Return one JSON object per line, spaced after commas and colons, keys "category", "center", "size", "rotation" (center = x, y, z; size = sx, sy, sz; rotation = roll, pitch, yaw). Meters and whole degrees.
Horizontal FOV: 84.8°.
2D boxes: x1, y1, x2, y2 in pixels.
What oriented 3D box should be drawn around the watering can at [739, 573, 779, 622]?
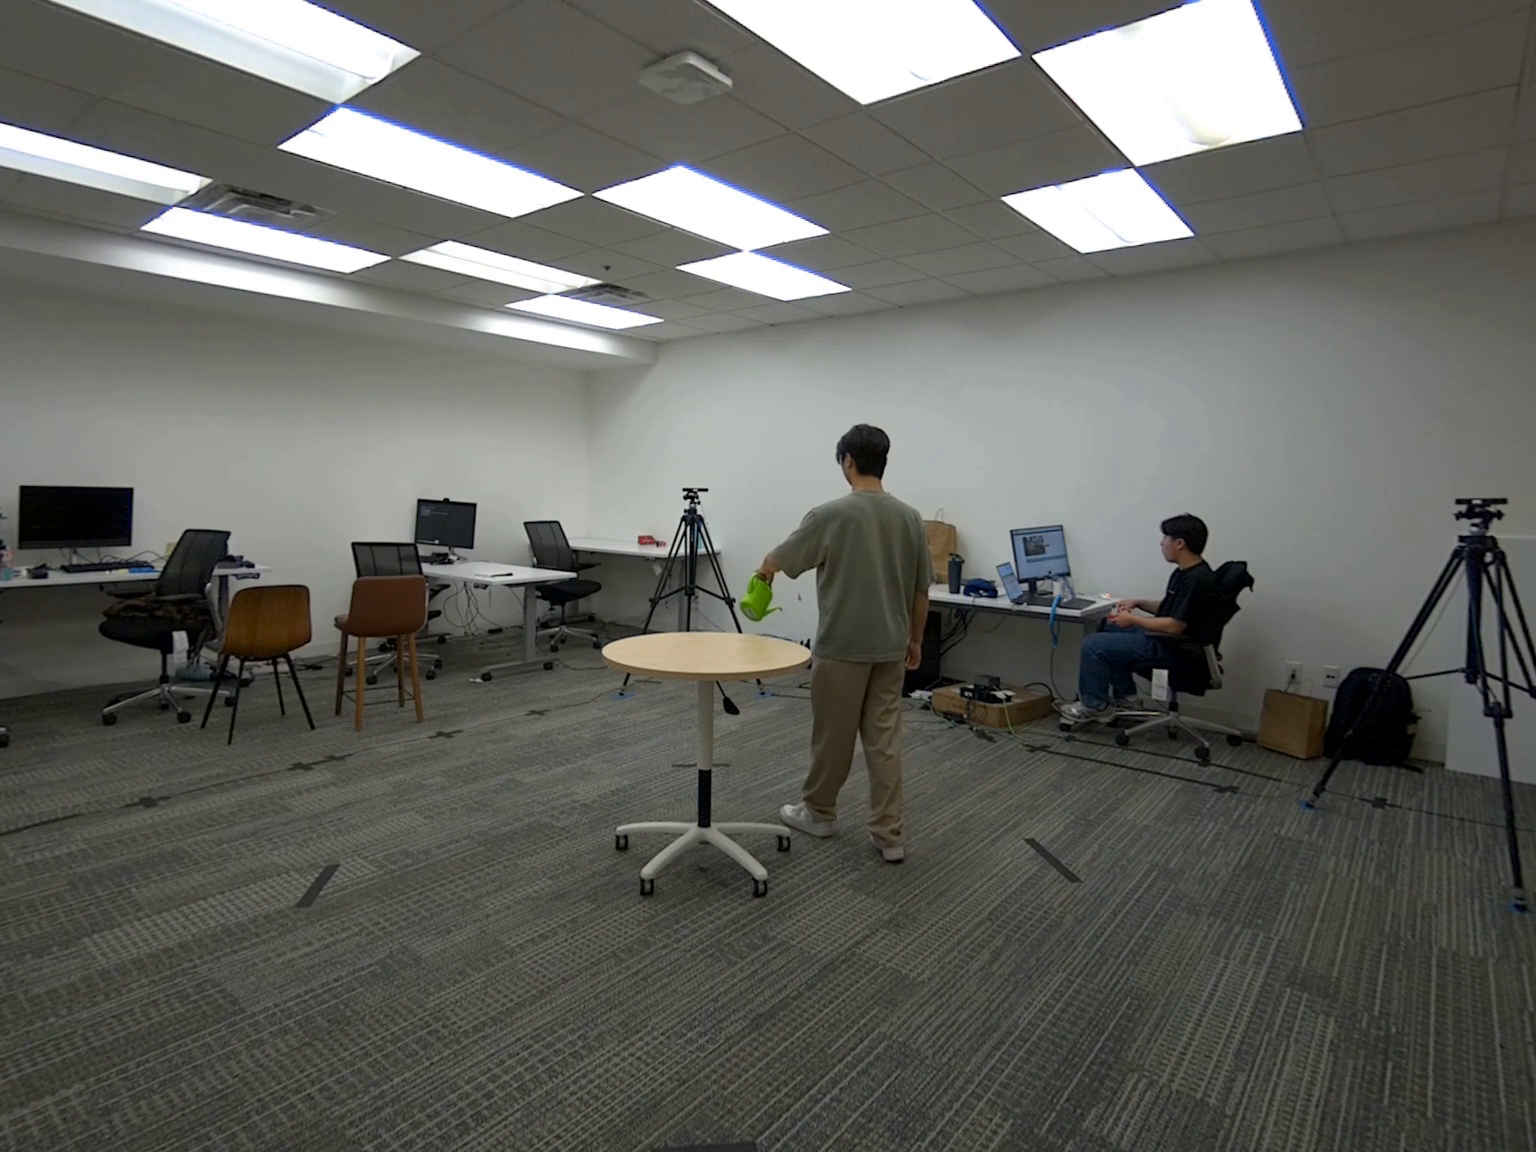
{"category": "watering can", "center": [-0.034, 0.114, 3.667], "size": [0.100, 0.269, 0.178], "rotation": [-10, 38, 46]}
